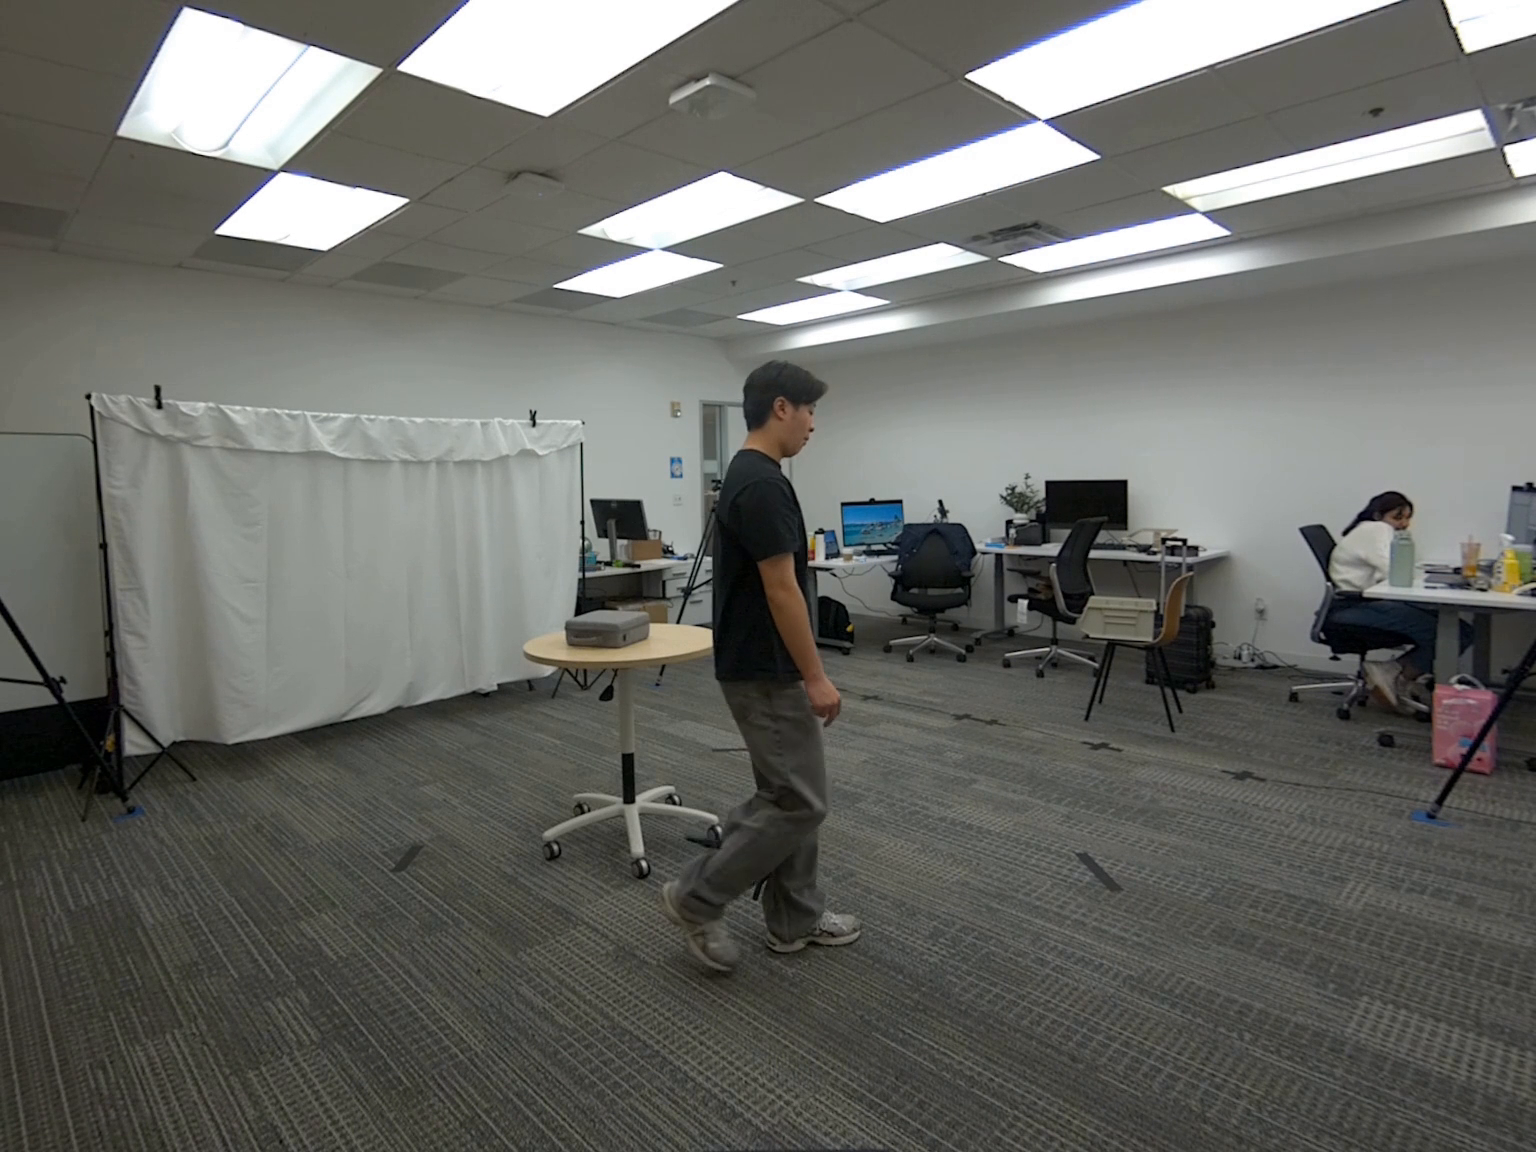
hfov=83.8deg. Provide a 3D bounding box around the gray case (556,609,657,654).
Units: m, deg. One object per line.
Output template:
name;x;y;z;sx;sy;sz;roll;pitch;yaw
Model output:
gray case;-0.617;0.206;3.288;0.269;0.102;0.282;1;7;24
